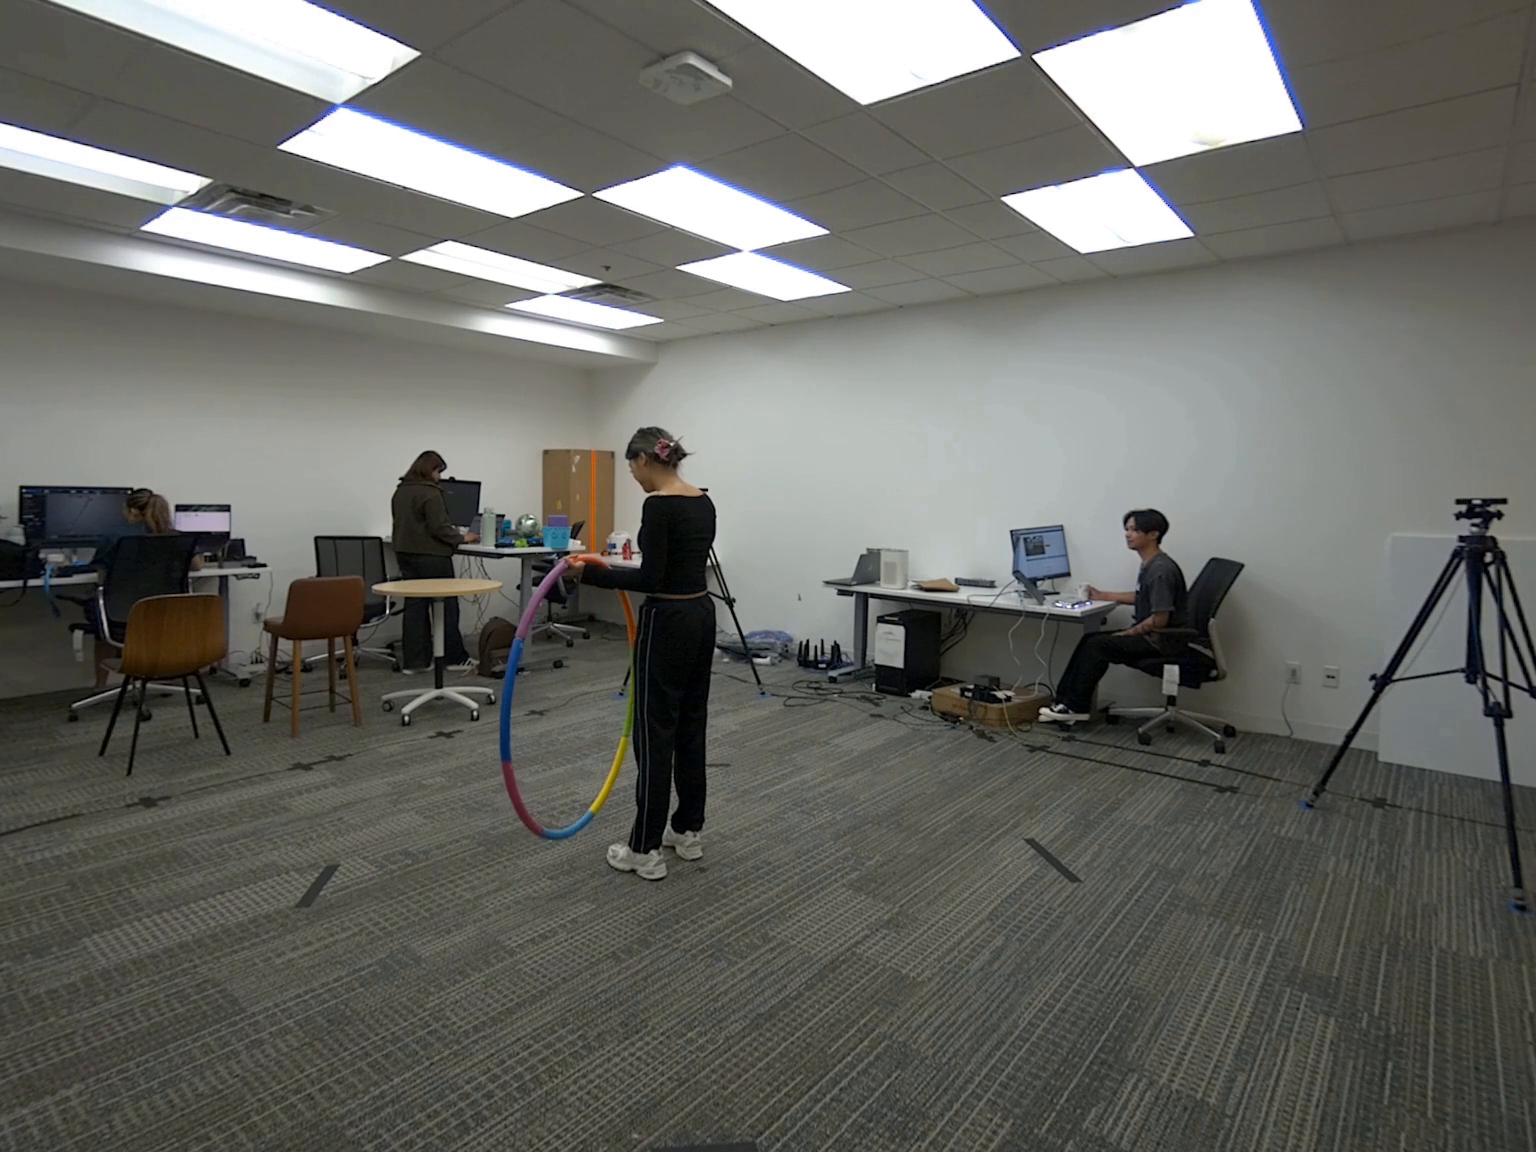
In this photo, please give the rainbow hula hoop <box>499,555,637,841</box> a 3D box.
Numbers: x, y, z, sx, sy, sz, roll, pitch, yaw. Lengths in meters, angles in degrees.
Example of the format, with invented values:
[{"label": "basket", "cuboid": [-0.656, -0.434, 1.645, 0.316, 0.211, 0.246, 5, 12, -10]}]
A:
[{"label": "rainbow hula hoop", "cuboid": [-0.695, 0.422, 3.059, 0.036, 0.976, 0.963, 1, 4, 17]}]
